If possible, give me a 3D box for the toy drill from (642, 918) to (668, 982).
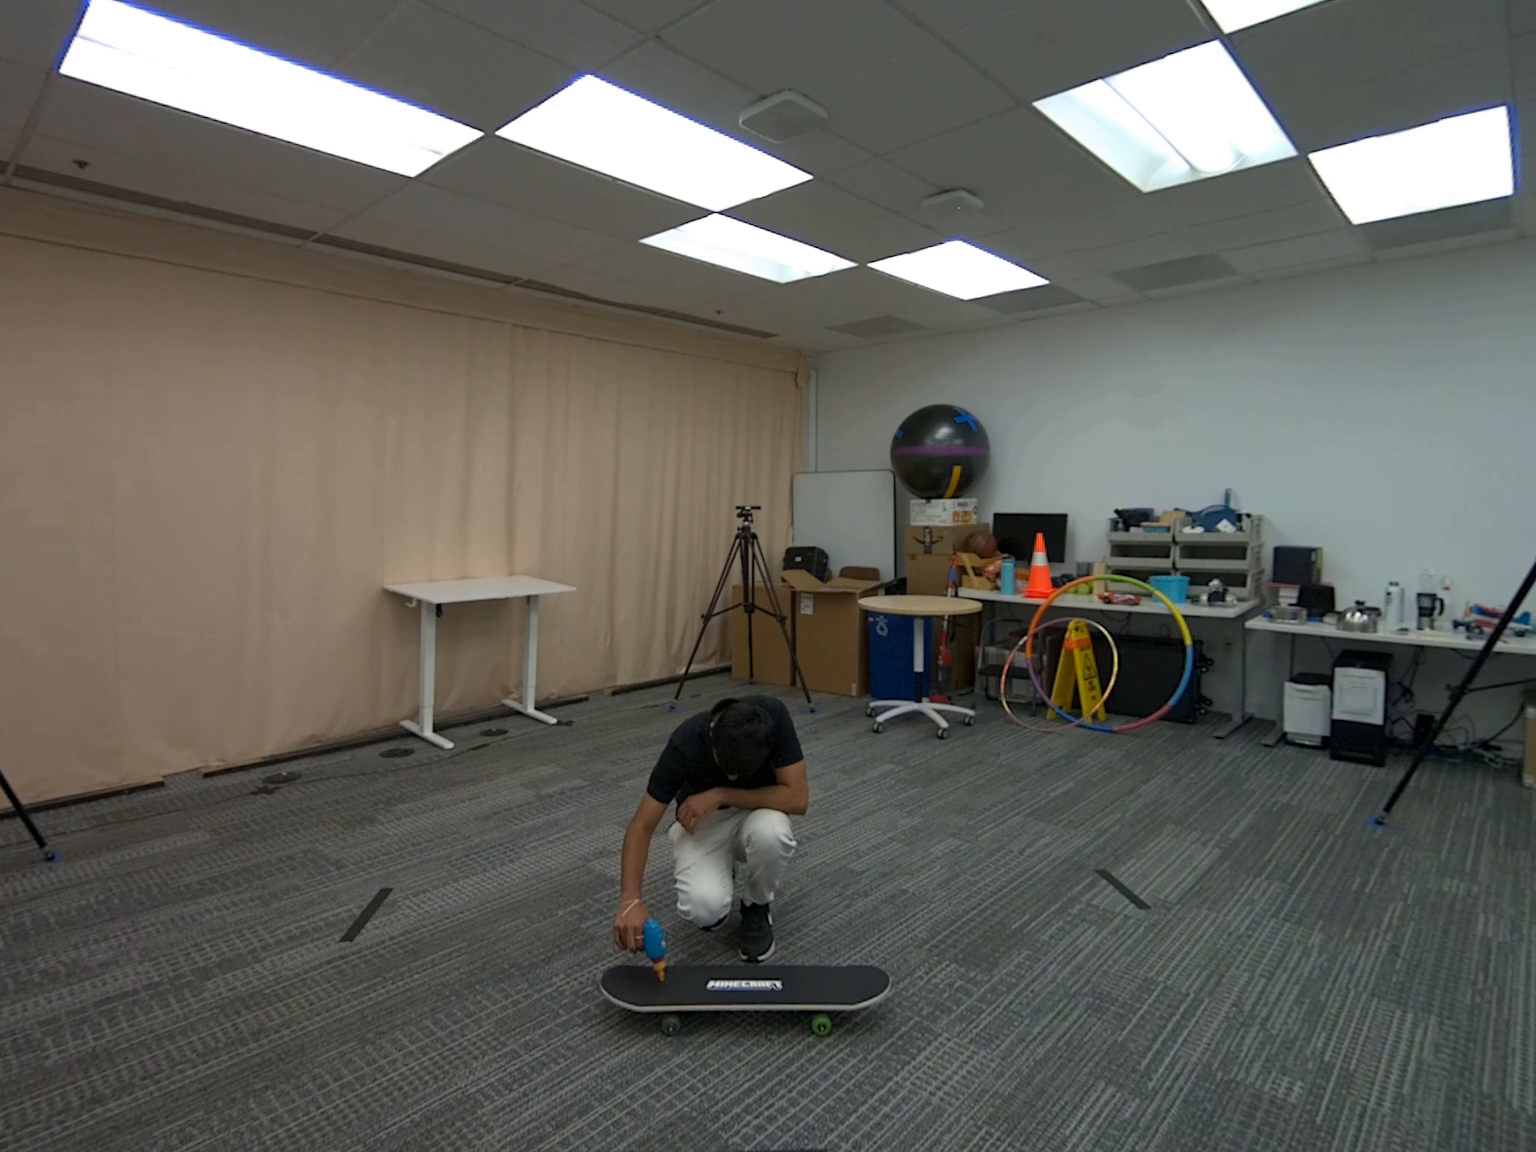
[{"bbox_3d":[-0.329,1.025,2.344,0.150,0.170,0.059,-12,-2,44],"label":"toy drill"}]
